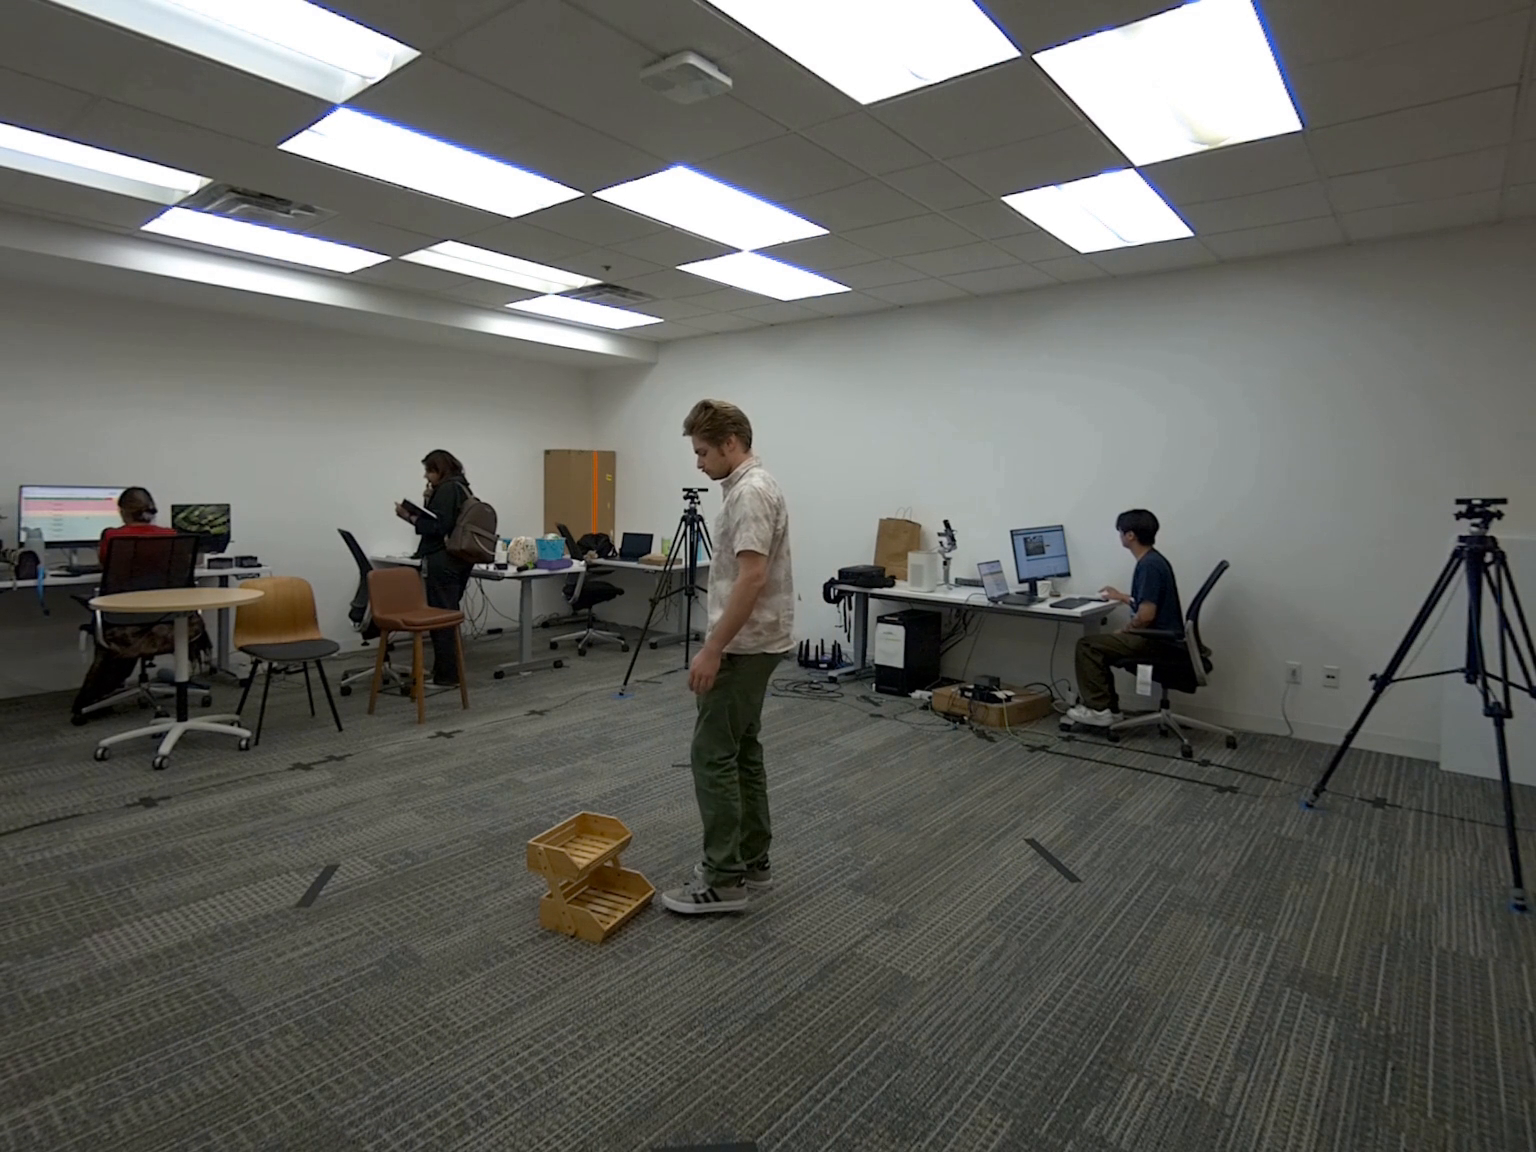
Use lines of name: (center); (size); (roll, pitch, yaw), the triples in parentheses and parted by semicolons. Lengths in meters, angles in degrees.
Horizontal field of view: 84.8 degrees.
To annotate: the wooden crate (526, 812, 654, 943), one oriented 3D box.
wooden crate: (-0.577, 0.961, 2.769); (0.310, 0.272, 0.317); (2, 4, 25)
